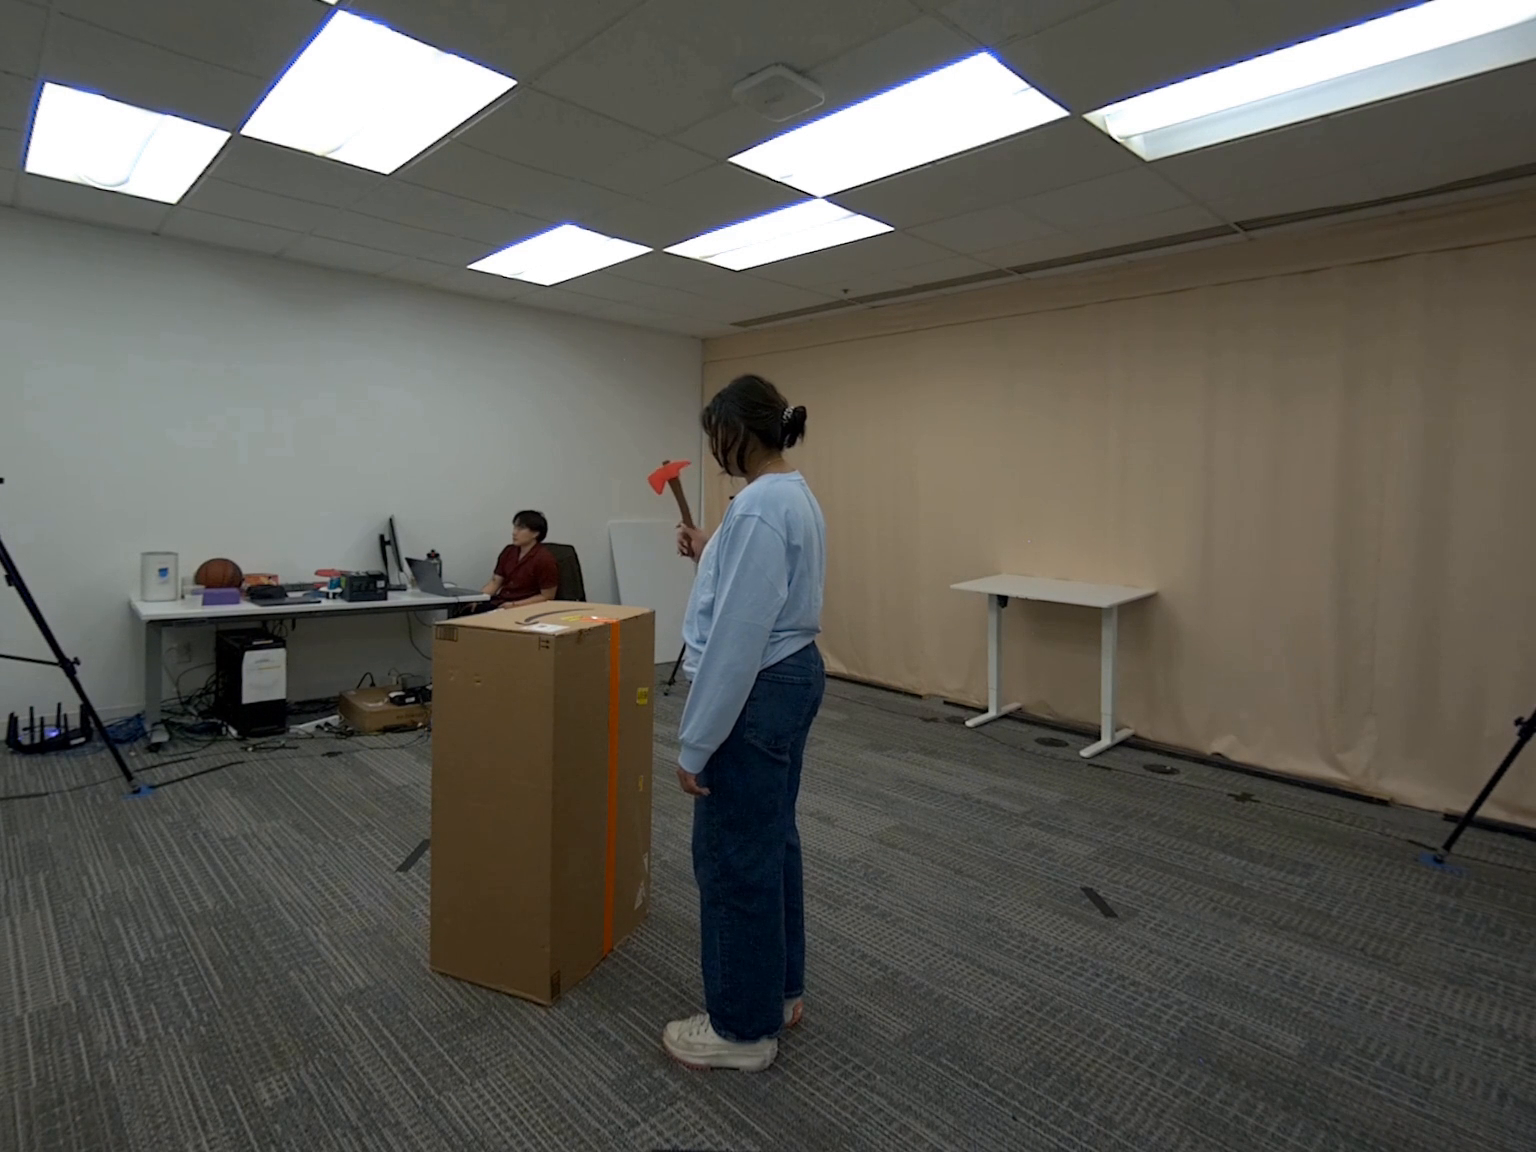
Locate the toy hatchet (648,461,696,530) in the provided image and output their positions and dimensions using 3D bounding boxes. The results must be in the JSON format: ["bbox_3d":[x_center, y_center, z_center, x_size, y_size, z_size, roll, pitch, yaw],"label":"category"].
[{"bbox_3d":[-0.280,-0.181,2.336,0.132,0.269,0.029,-3,5,13],"label":"toy hatchet"}]
